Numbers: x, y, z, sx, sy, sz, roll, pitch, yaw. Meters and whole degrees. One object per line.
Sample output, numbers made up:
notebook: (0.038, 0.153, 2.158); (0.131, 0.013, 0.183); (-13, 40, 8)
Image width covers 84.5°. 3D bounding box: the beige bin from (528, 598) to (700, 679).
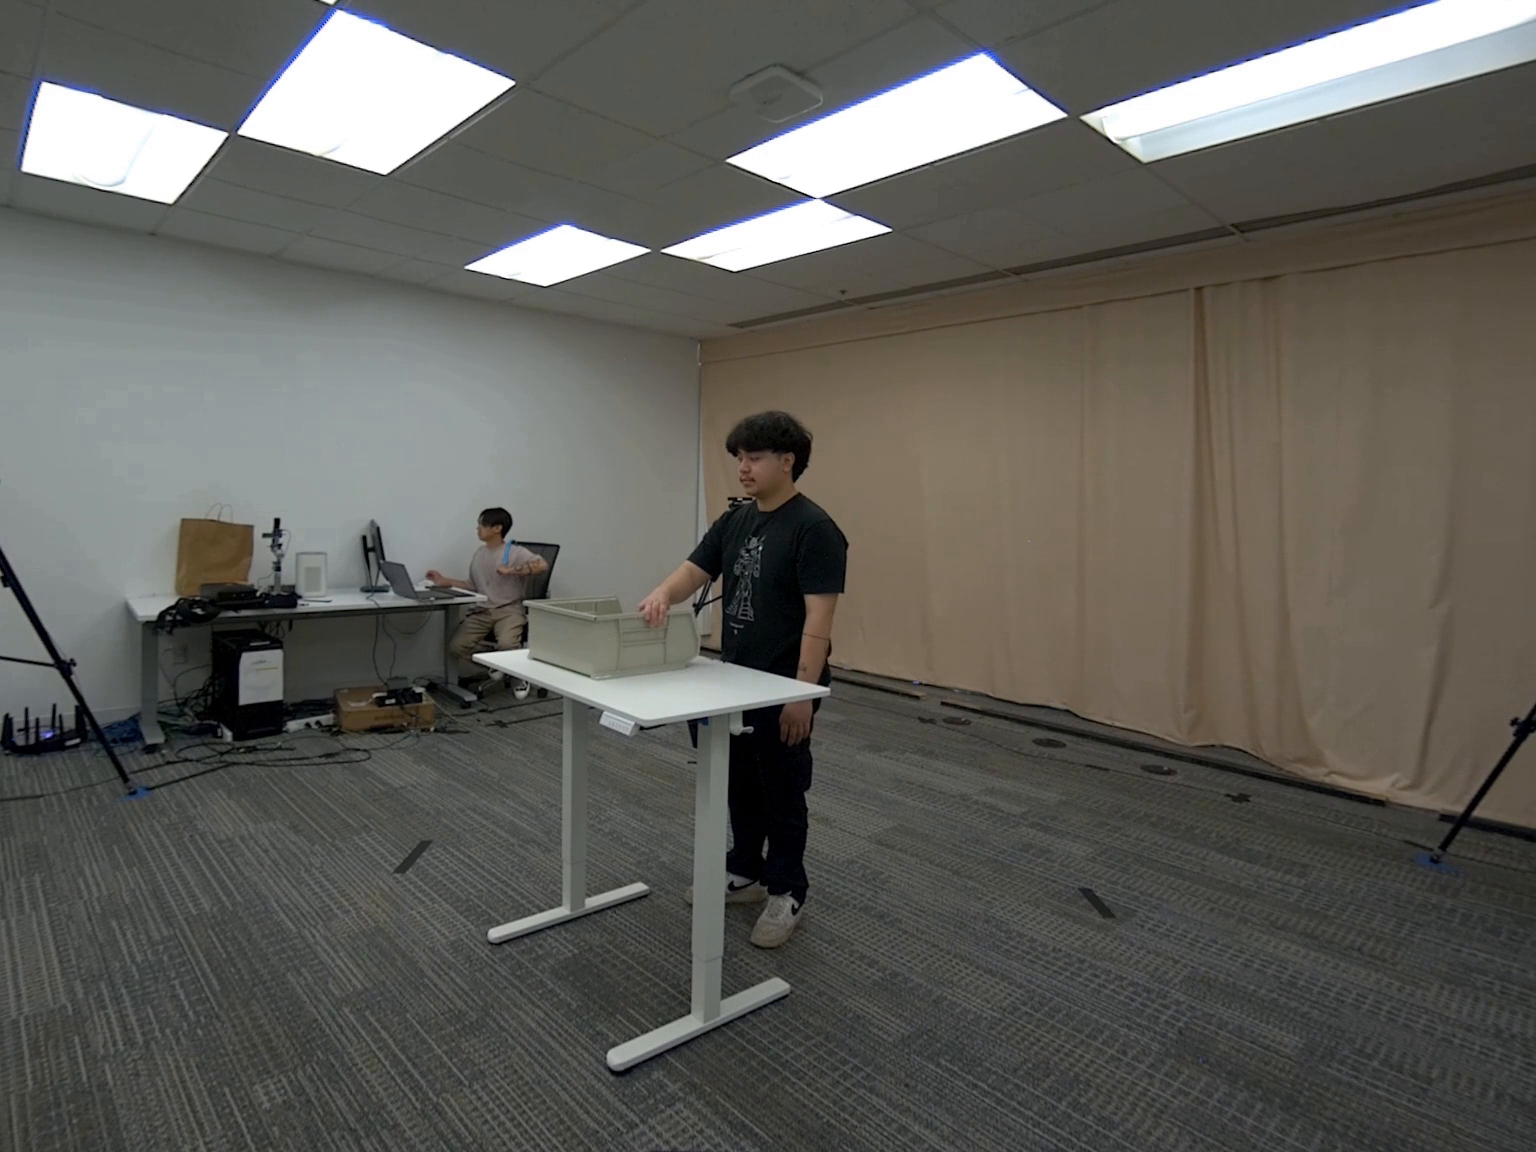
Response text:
beige bin: (-0.481, 0.177, 2.580); (0.369, 0.188, 0.433); (-4, 7, -41)
